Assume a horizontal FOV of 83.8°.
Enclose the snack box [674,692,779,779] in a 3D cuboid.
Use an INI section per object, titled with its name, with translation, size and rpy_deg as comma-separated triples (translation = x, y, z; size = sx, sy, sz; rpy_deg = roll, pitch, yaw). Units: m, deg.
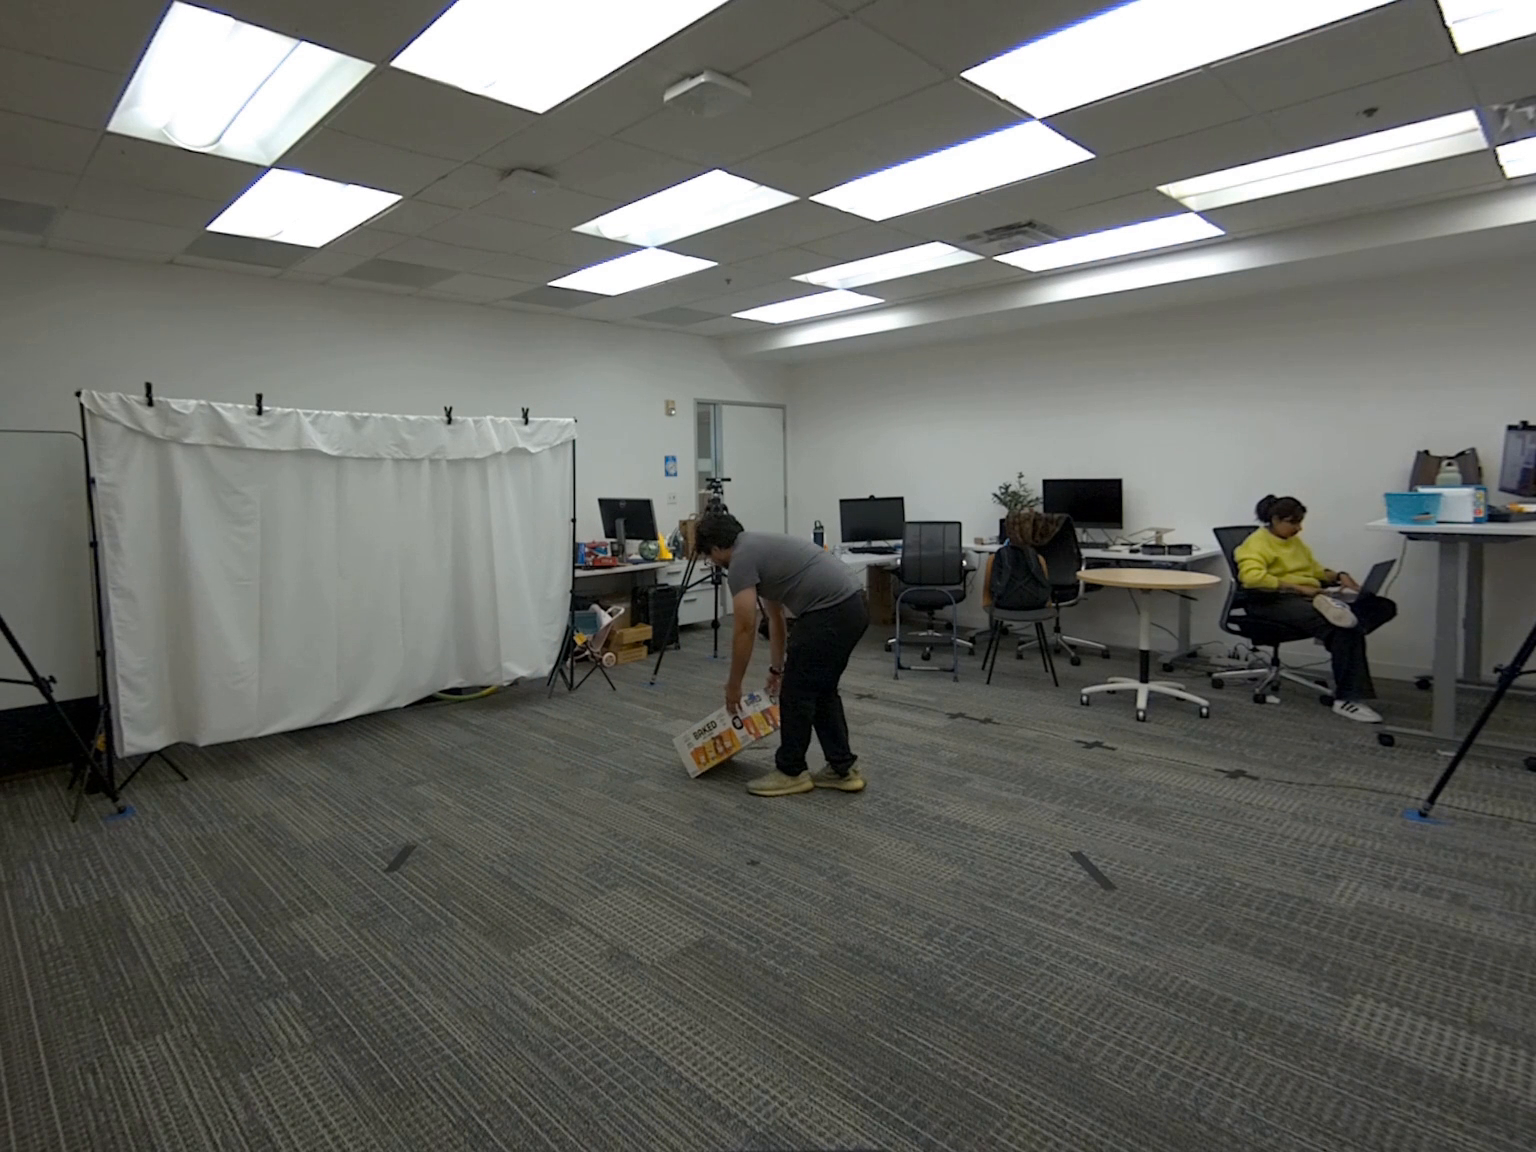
[snack box]
translation = -0.174, 0.744, 4.068
size = 0.407, 0.209, 0.332
rpy_deg = -37, -14, 28
